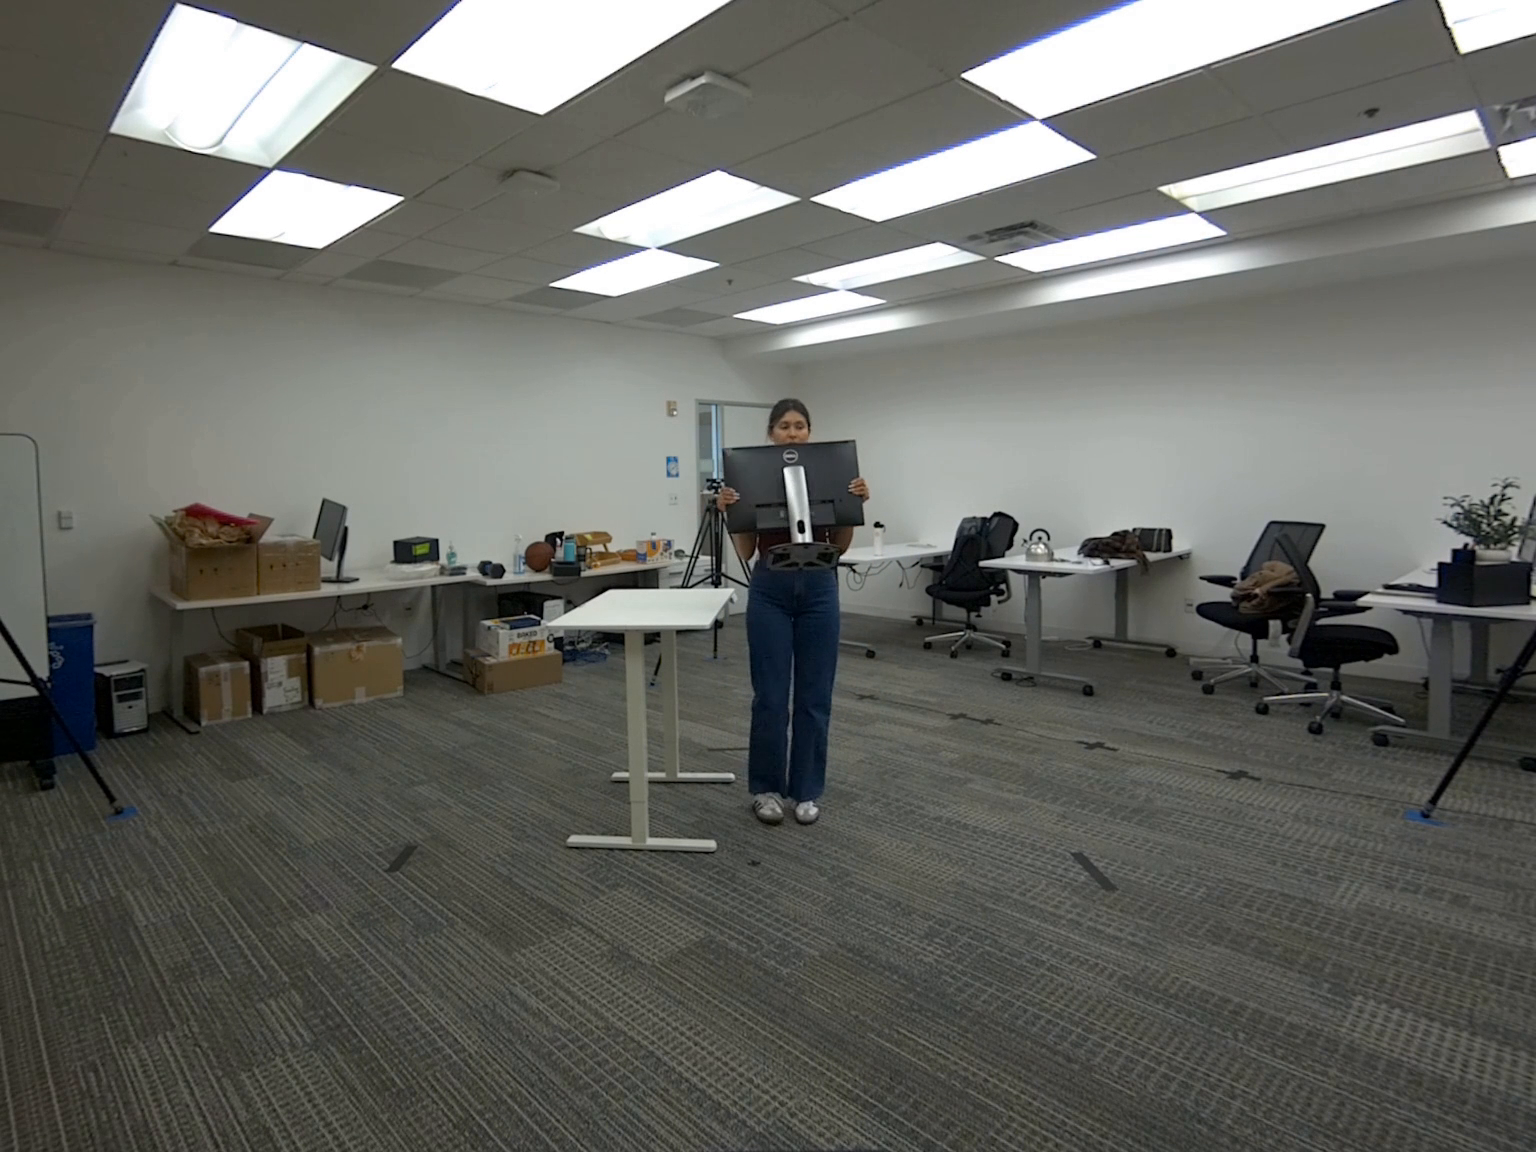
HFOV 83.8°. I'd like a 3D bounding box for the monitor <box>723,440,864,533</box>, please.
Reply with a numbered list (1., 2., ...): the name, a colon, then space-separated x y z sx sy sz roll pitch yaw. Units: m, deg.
1. monitor: 0.101 -0.282 3.286 0.537 0.536 0.183 -3 -28 -3
